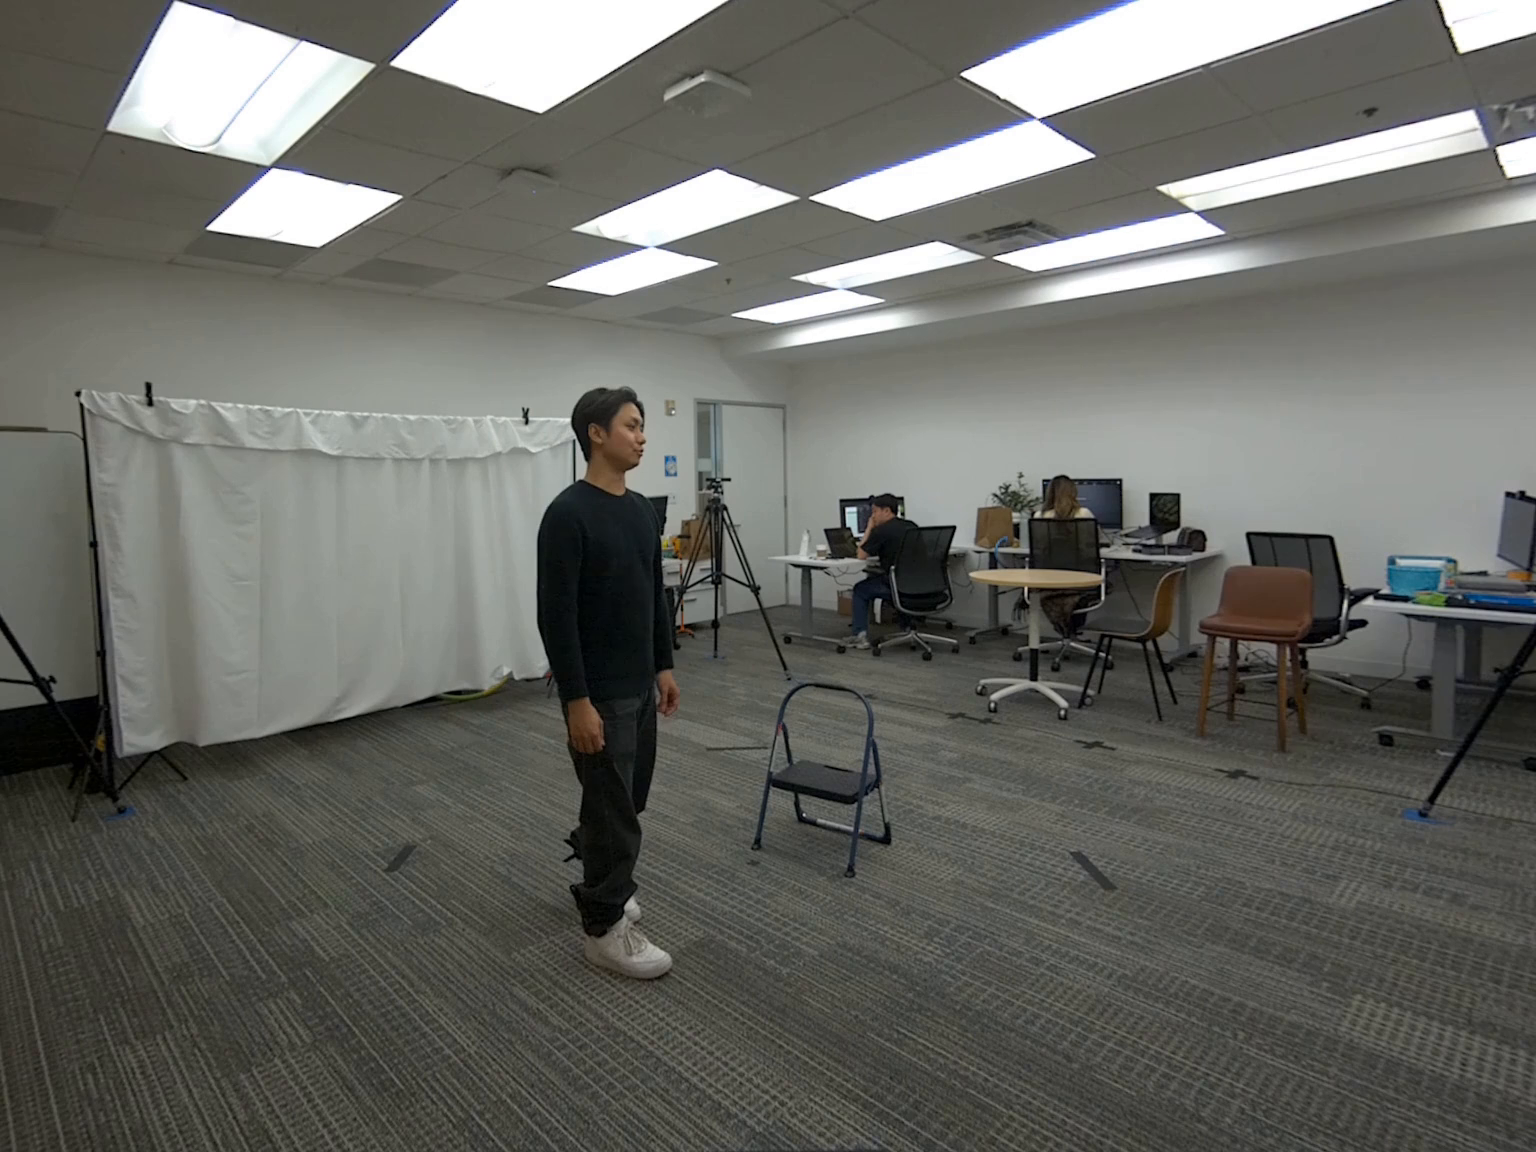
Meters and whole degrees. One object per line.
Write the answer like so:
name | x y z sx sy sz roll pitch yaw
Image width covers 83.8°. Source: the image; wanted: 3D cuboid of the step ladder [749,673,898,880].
step ladder | 0.209 0.722 3.220 0.443 0.604 0.341 2 5 35
